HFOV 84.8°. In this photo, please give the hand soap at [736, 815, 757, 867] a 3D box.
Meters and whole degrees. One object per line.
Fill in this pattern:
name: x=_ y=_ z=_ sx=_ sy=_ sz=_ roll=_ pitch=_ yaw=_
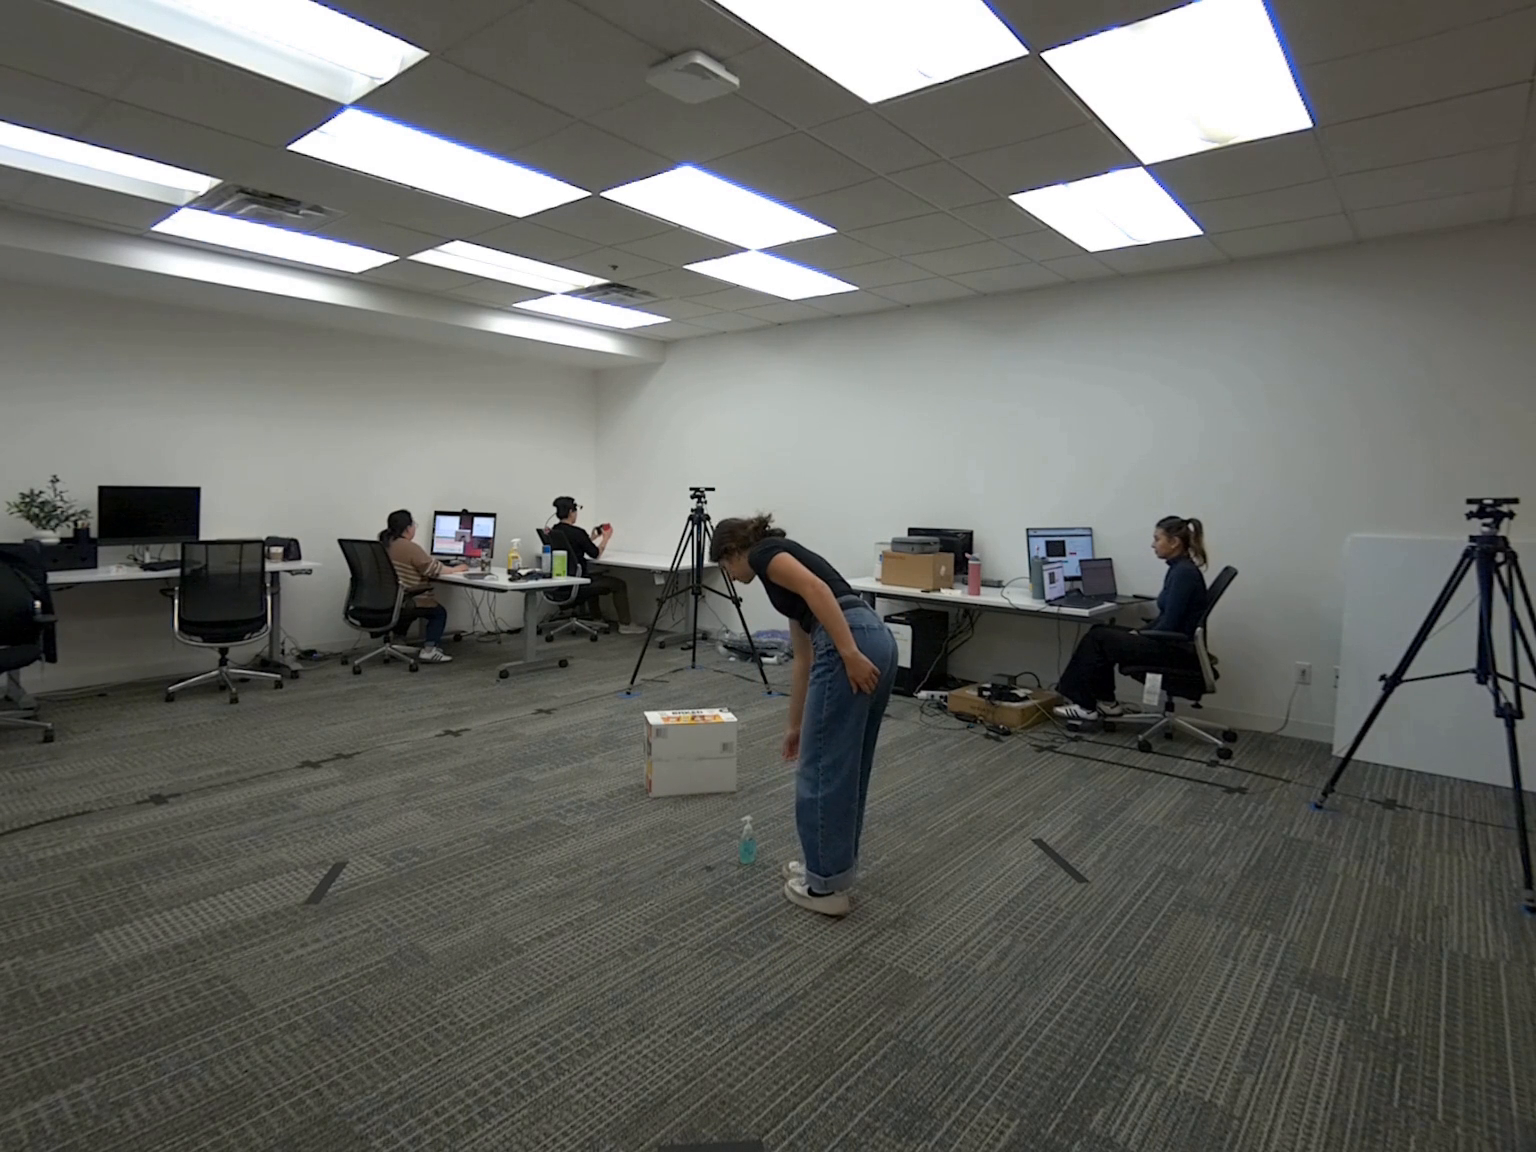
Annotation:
hand soap: x=-0.086 y=0.982 z=3.176 sx=0.082 sy=0.167 sz=0.045 roll=1 pitch=6 yaw=-43
